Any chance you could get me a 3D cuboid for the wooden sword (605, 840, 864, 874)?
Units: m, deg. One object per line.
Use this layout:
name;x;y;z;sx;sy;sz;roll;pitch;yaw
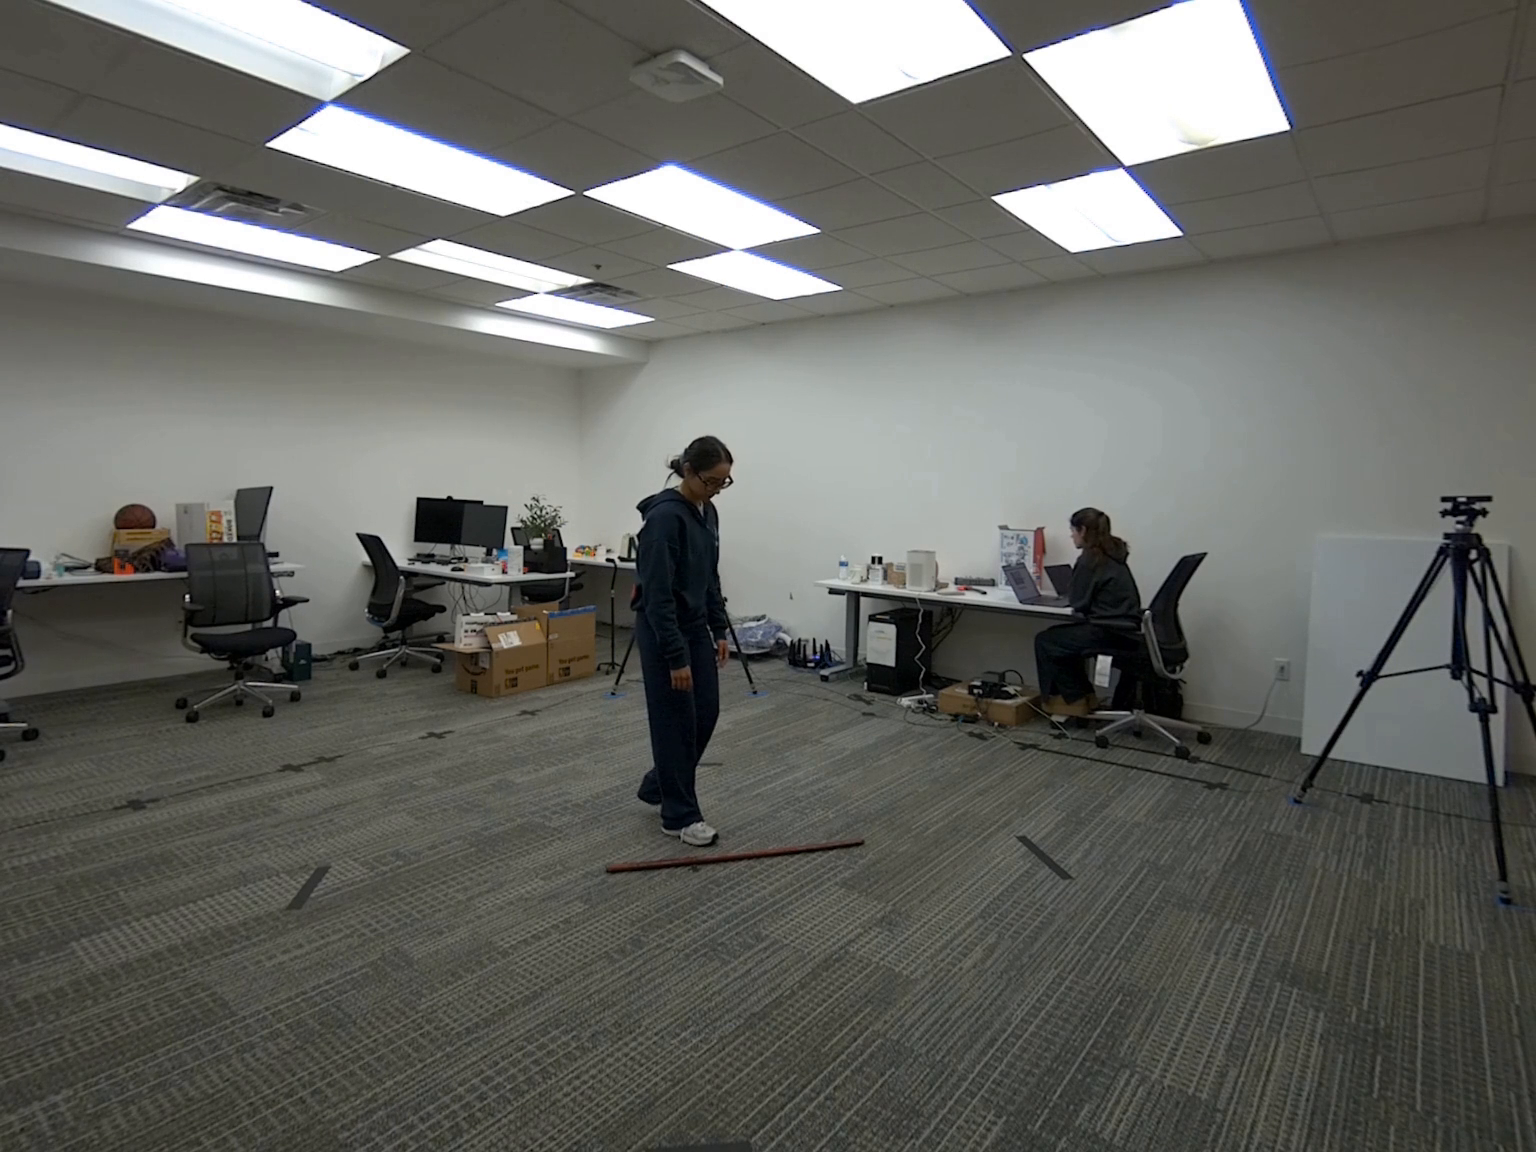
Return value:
wooden sword;-0.108;1.039;3.199;1.008;0.024;0.051;0;-14;-15
